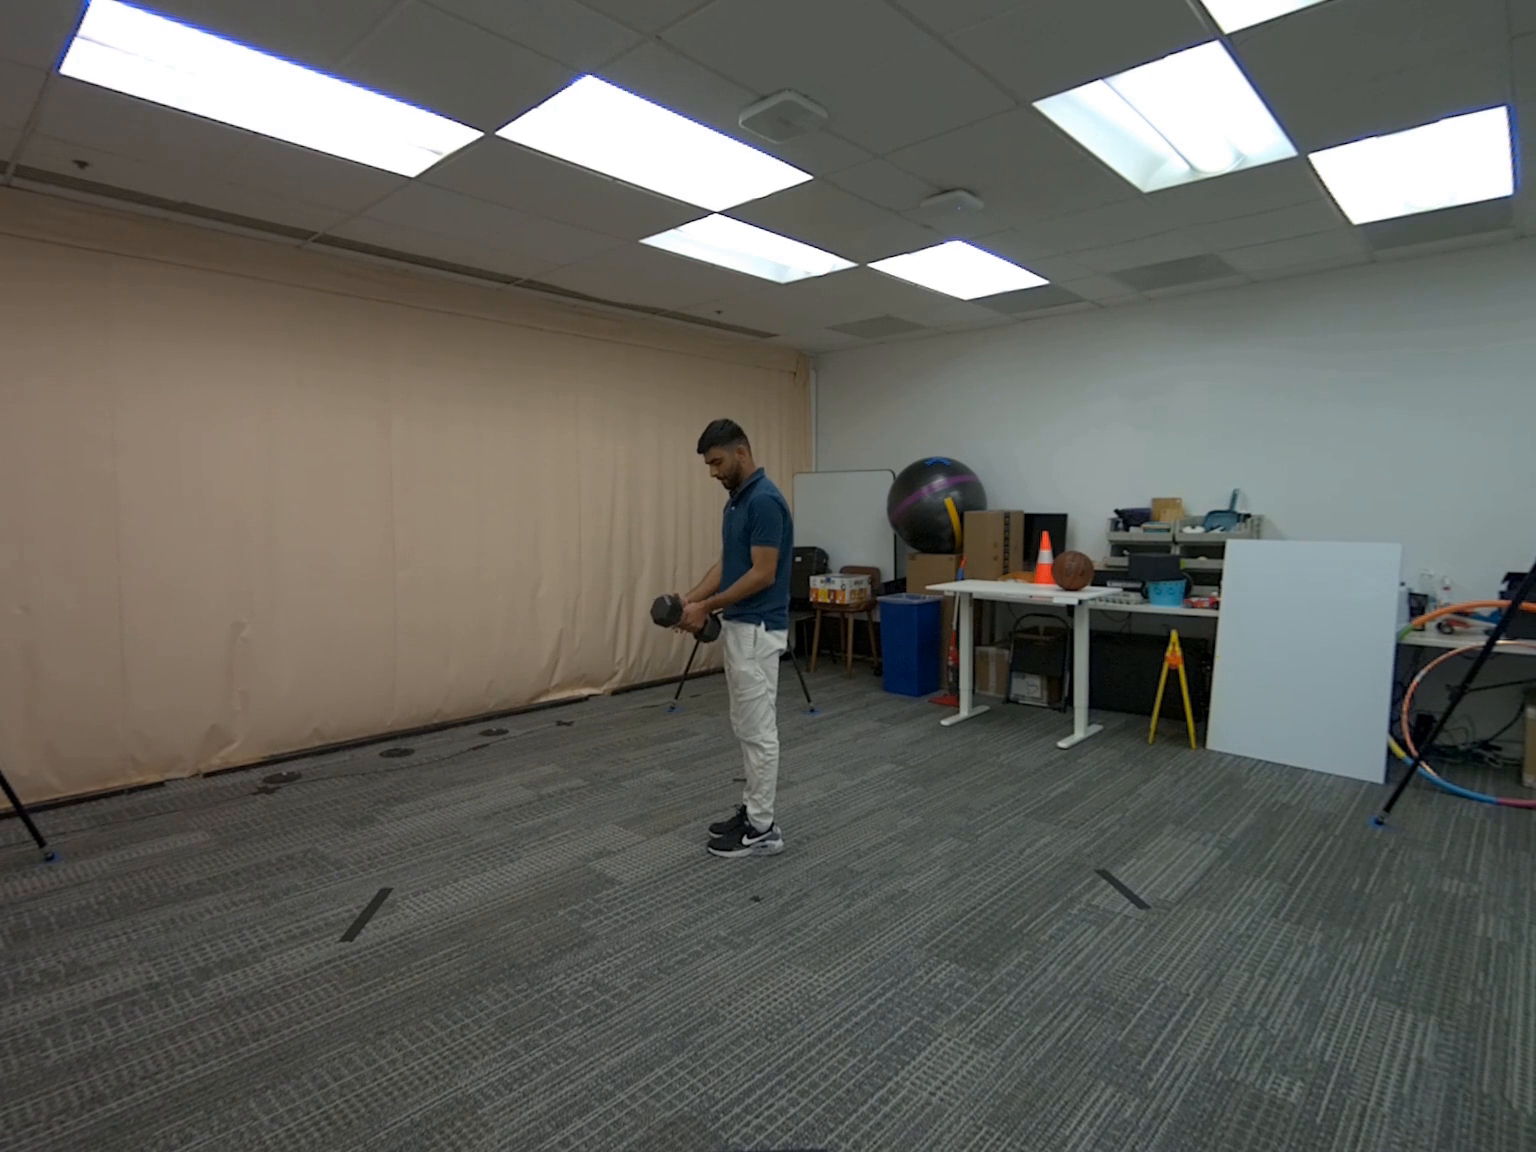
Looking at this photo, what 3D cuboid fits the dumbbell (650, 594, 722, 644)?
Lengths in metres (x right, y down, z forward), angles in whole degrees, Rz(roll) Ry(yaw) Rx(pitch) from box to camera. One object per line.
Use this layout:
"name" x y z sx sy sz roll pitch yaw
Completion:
"dumbbell" -0.315 0.176 3.297 0.283 0.109 0.127 26 23 -39
